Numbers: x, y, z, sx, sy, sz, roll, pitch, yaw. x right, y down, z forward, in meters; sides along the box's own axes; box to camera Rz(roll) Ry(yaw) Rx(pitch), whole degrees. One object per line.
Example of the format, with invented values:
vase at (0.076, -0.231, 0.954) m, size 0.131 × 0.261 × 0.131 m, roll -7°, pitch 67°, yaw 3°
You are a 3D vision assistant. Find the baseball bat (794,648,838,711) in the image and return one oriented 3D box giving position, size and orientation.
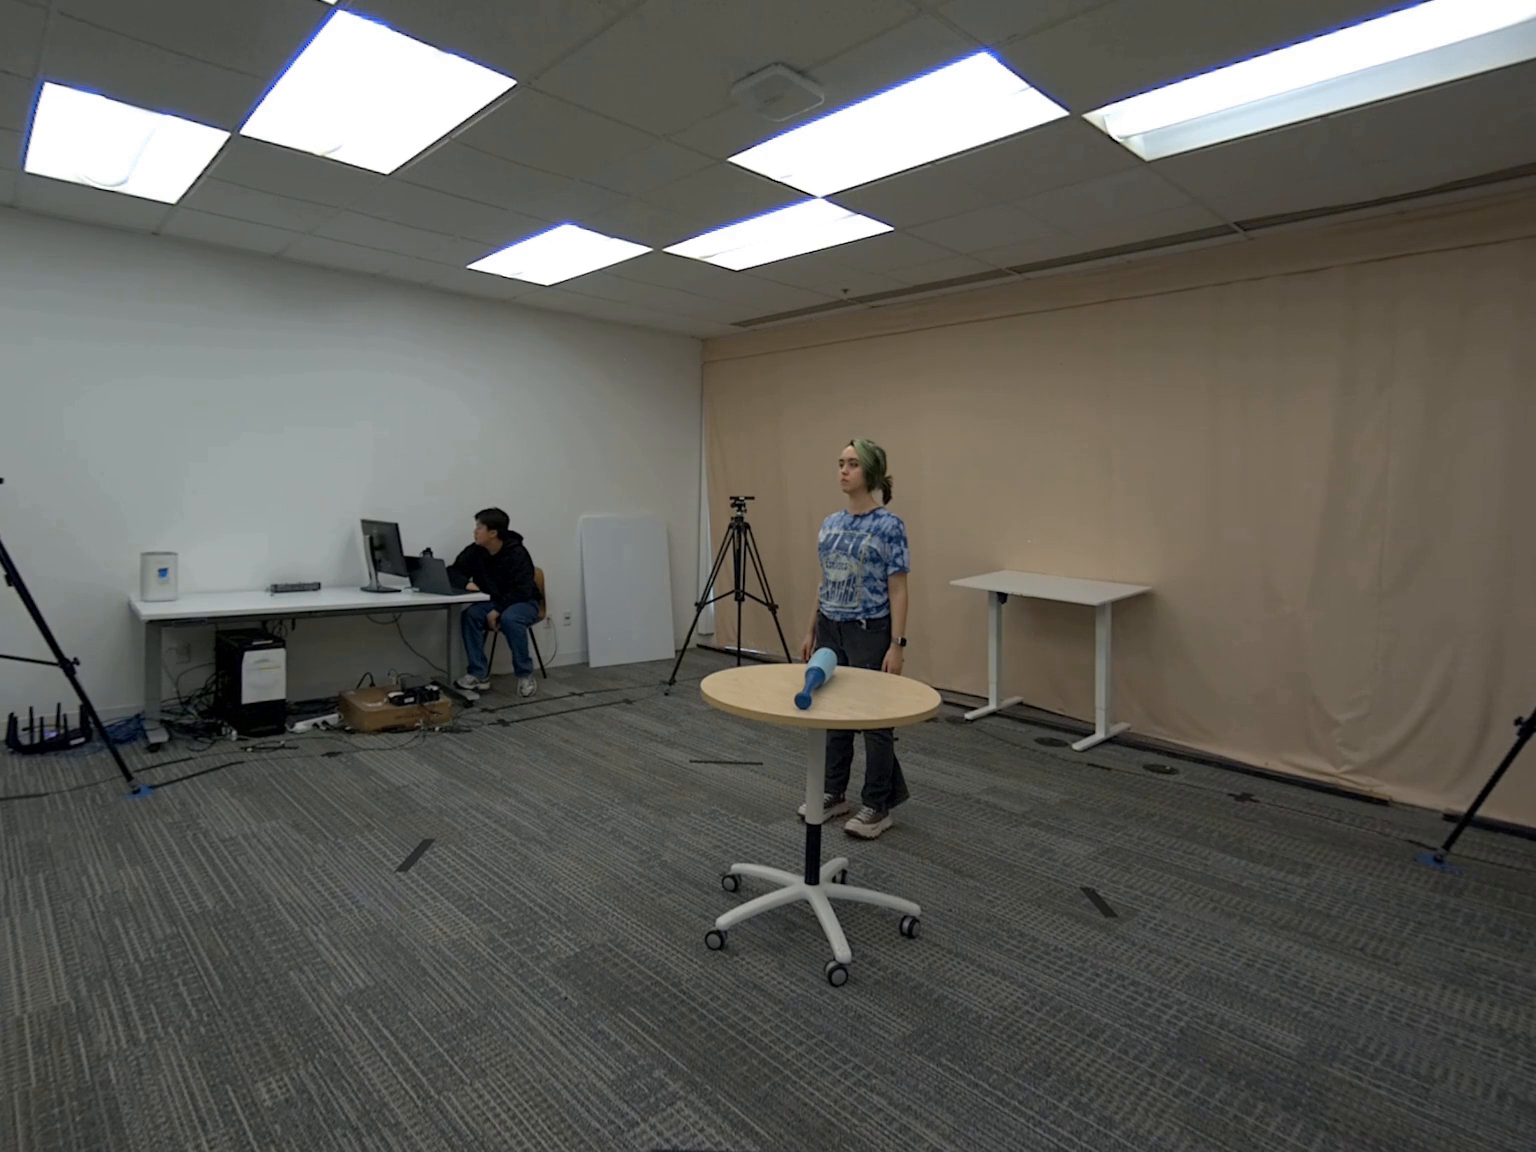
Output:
baseball bat at (0.146, 0.330, 2.674) m, size 0.090 × 0.088 × 0.542 m, roll 2°, pitch 8°, yaw 8°
